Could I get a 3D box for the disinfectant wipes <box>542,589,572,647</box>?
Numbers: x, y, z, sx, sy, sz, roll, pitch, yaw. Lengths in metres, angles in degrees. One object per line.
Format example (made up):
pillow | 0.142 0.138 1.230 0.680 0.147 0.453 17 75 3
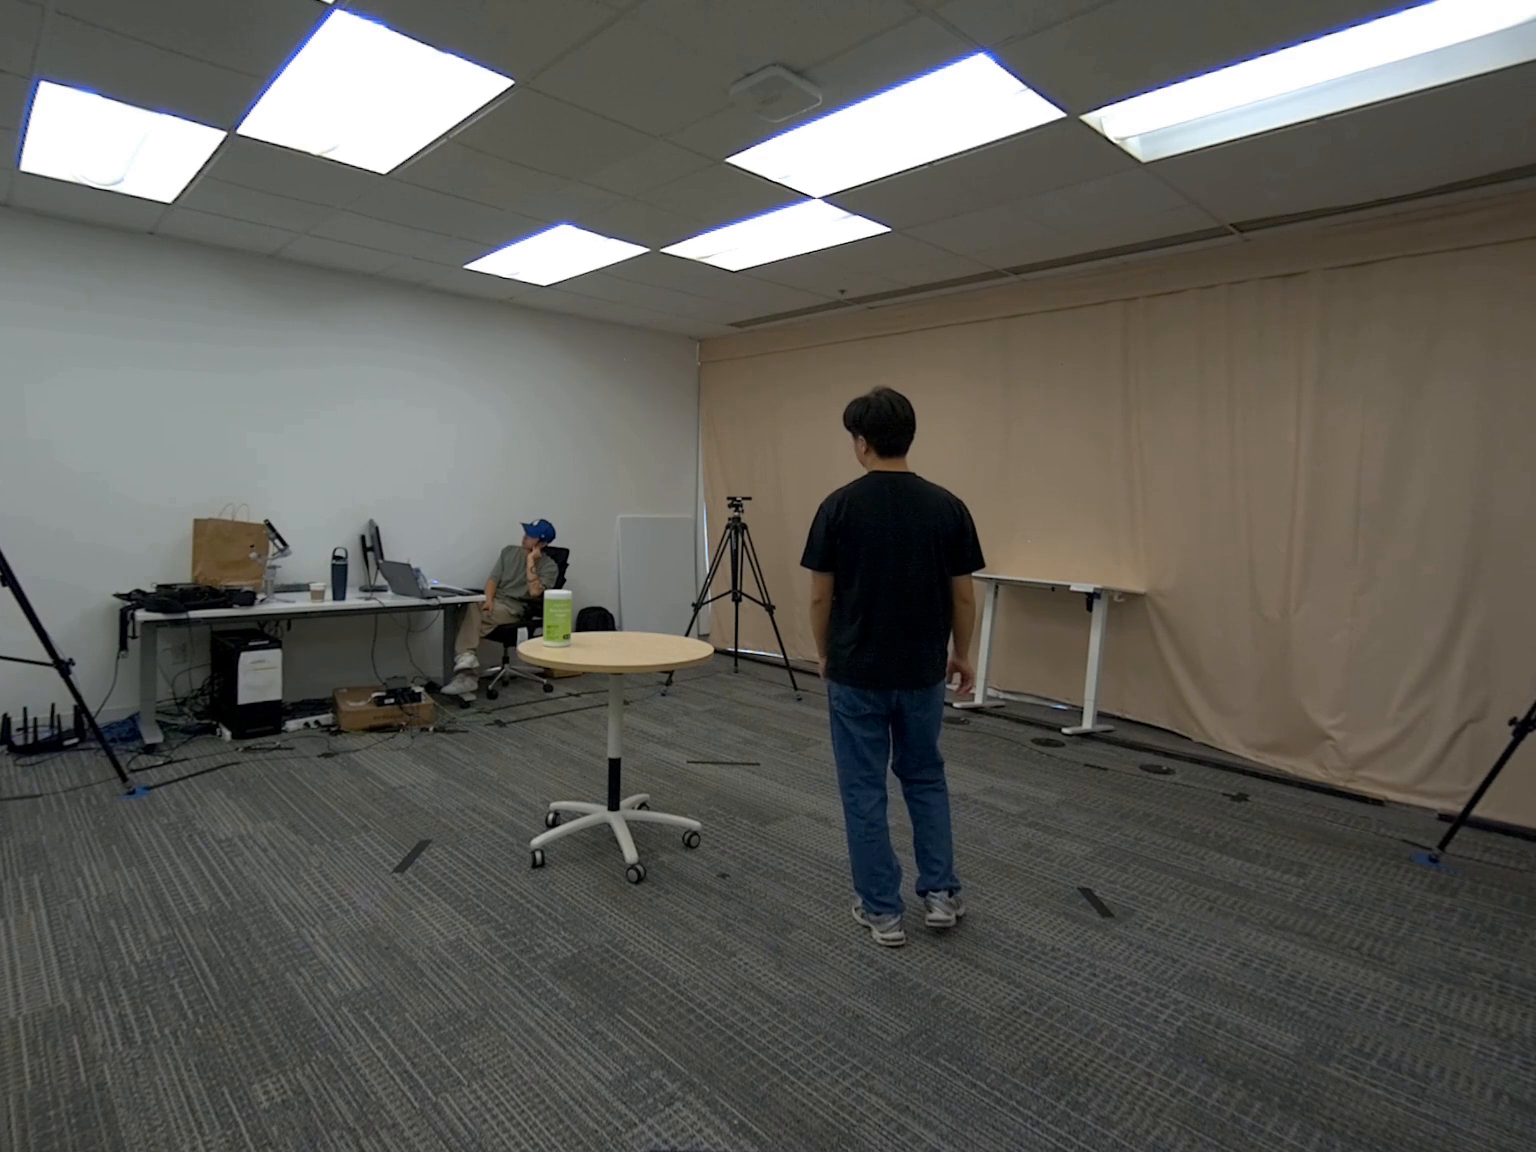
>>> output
disinfectant wipes | -0.836 0.170 3.309 0.118 0.217 0.118 2 2 -1
